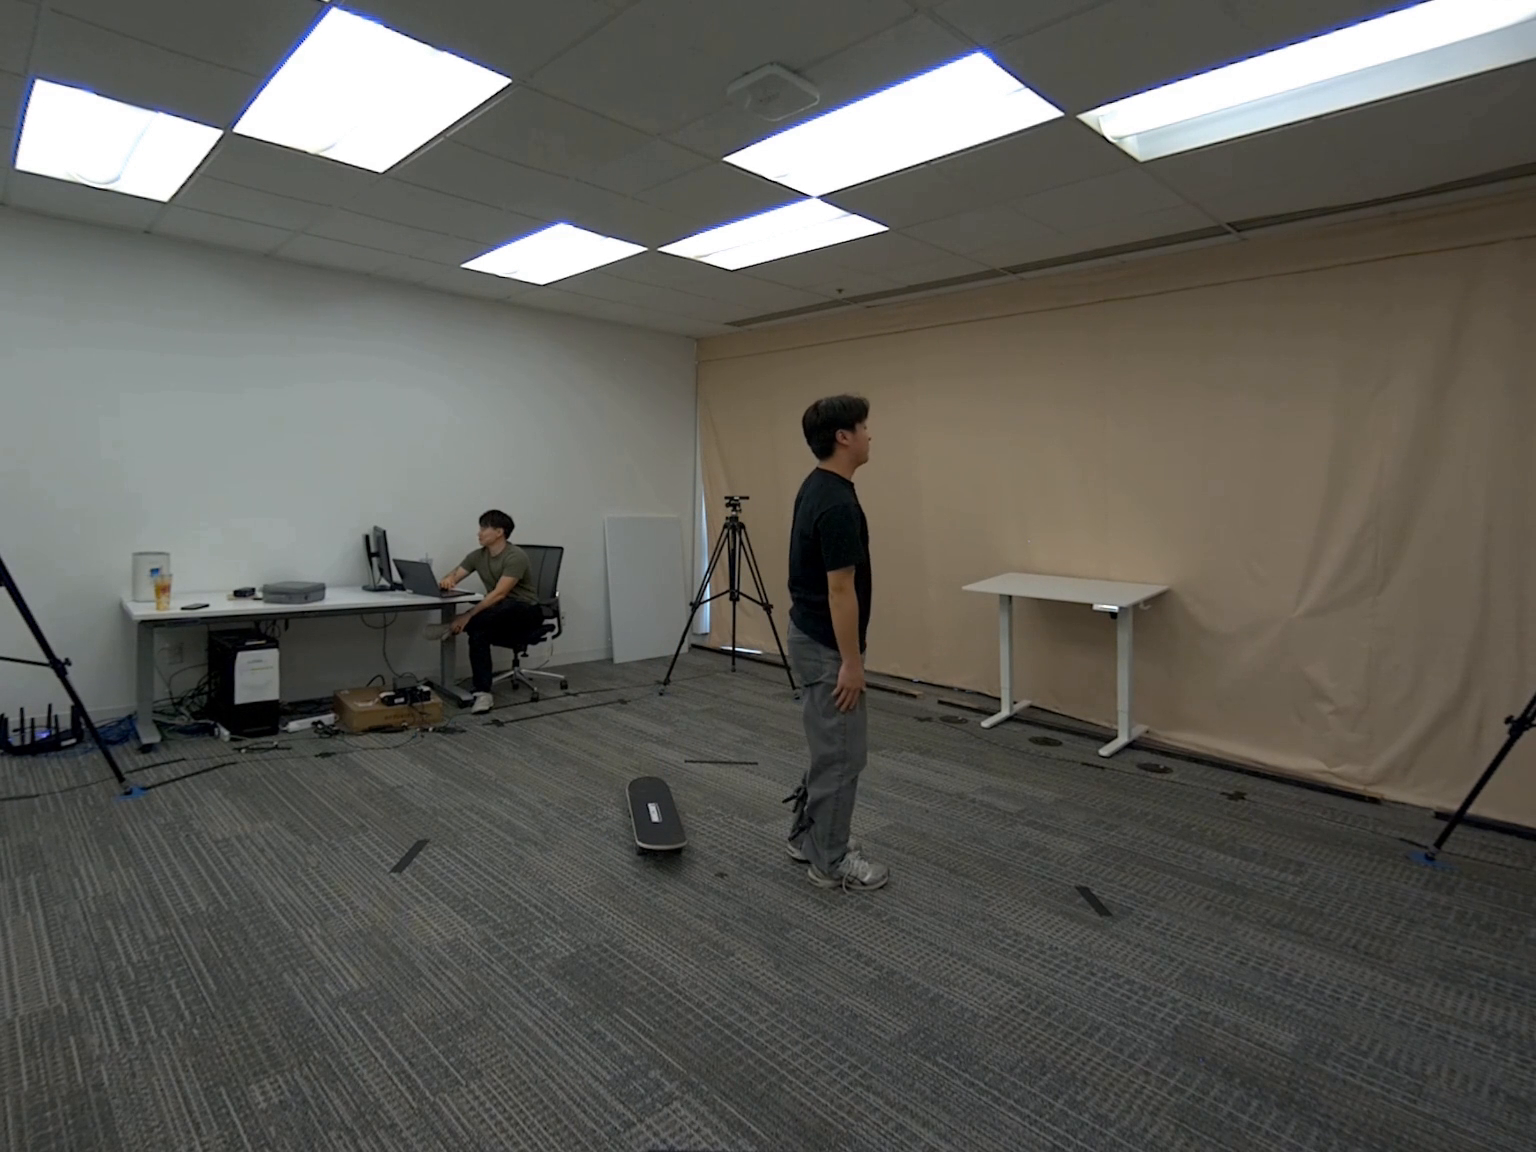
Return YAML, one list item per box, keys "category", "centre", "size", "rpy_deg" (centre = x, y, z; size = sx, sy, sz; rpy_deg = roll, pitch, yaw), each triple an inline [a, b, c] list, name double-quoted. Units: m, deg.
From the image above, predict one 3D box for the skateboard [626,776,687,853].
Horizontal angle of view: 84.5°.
- category: "skateboard"
  centre: [-0.482, 1.013, 3.480]
  size: [0.192, 0.110, 0.795]
  rpy_deg: [1, 6, -12]
